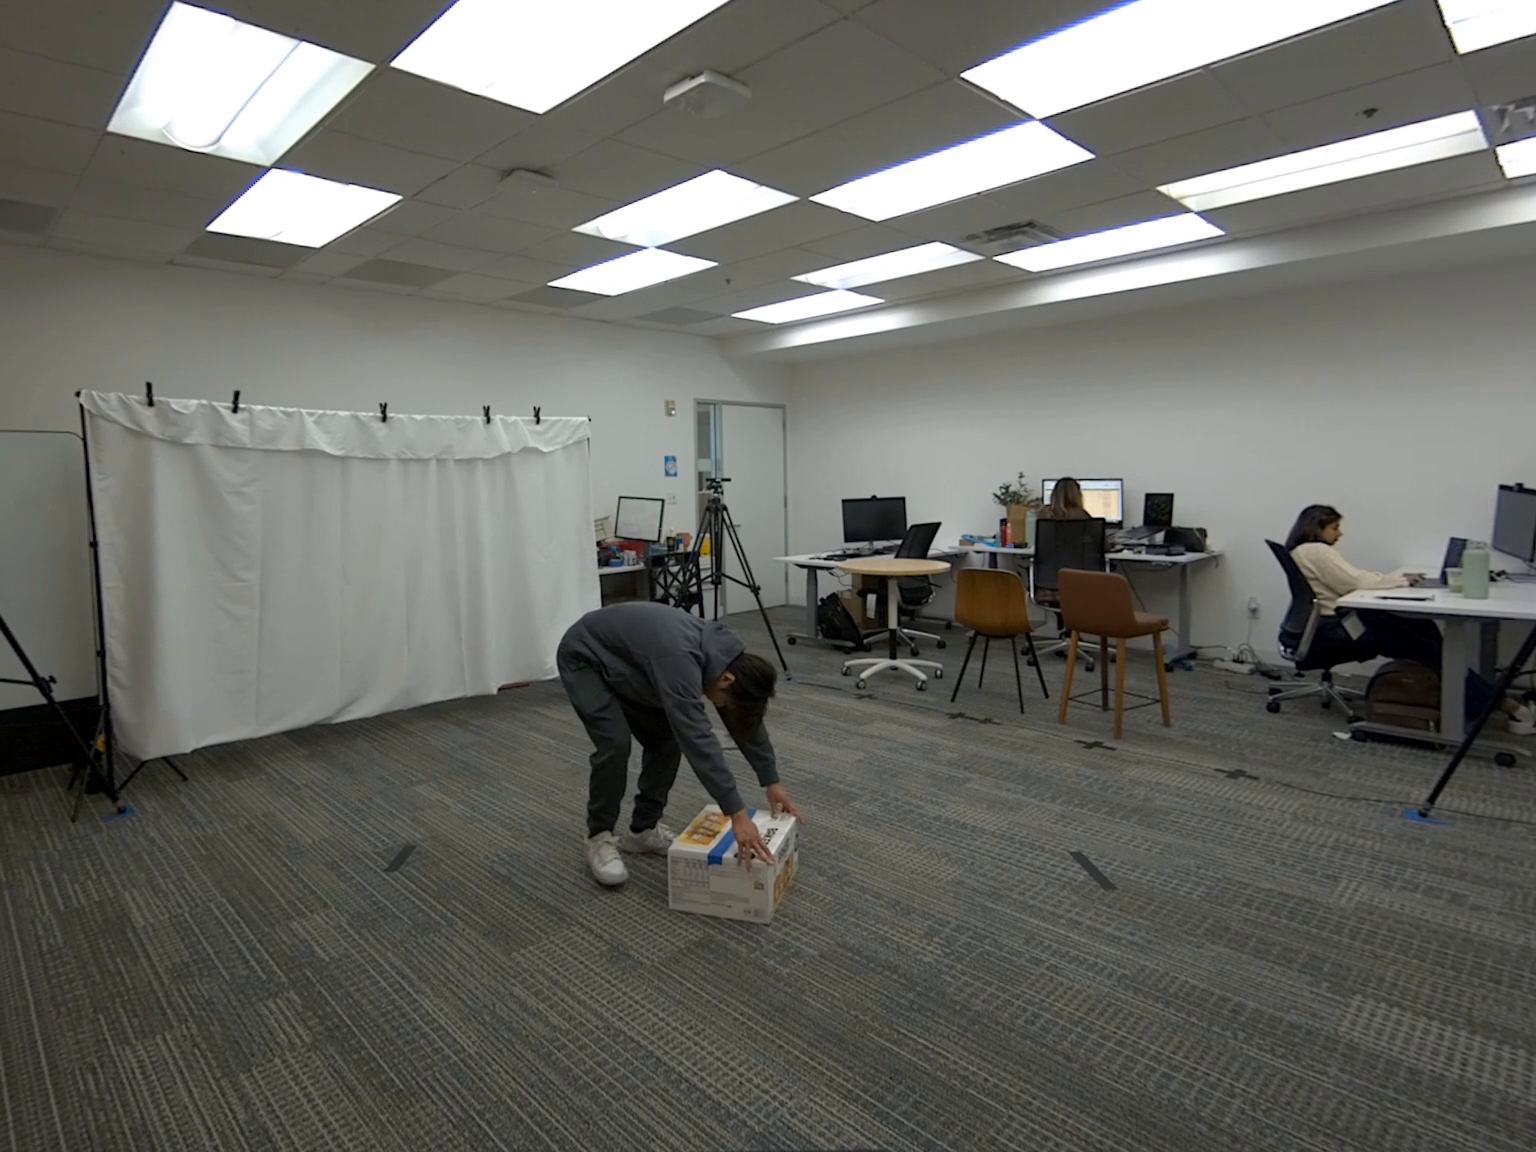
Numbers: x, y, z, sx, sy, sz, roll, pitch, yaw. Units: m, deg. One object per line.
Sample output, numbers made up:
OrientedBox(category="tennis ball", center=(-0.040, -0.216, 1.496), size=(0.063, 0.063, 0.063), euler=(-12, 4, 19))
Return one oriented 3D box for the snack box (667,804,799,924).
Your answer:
OrientedBox(category="snack box", center=(-0.104, 0.968, 2.906), size=(0.346, 0.205, 0.400), euler=(1, 6, 16))
